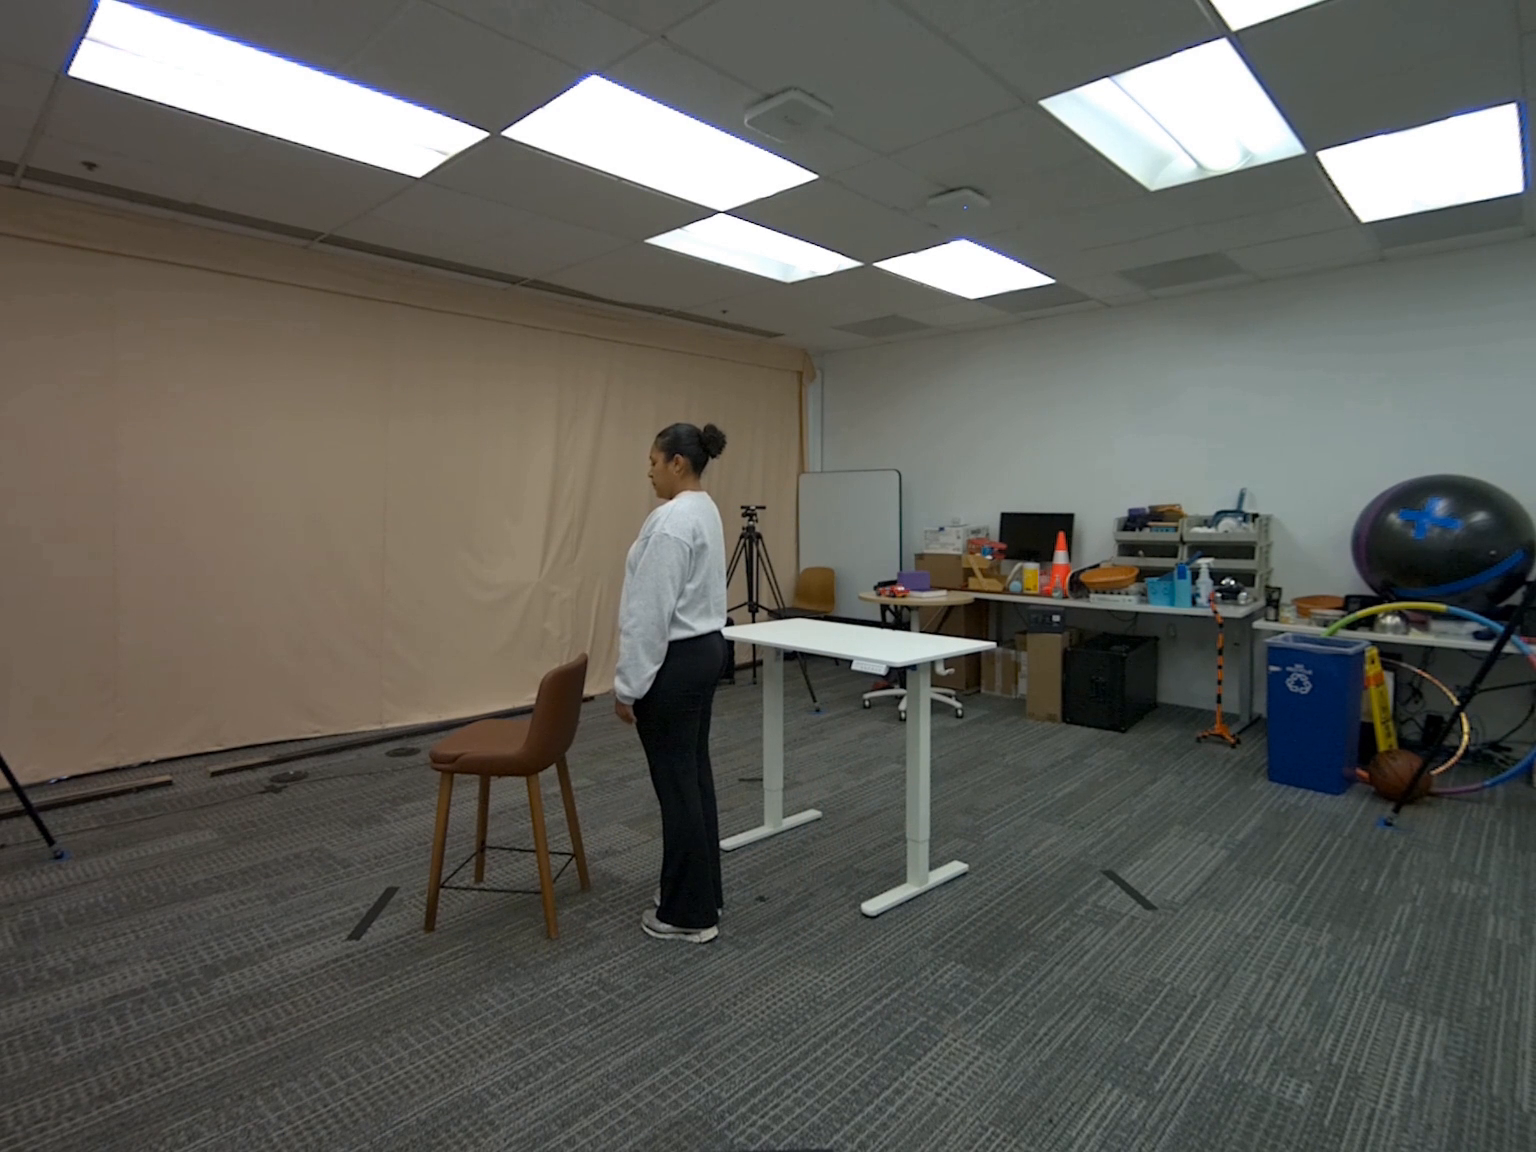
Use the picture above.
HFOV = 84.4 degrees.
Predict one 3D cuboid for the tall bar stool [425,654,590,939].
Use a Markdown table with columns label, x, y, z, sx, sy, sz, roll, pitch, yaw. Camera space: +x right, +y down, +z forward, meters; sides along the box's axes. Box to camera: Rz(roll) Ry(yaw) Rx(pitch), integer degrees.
| label | x | y | z | sx | sy | sz | roll | pitch | yaw |
| --- | --- | --- | --- | --- | --- | --- | --- | --- | --- |
| tall bar stool | -0.885 | 0.723 | 2.905 | 0.472 | 0.888 | 0.453 | 2 | 4 | 7 |
